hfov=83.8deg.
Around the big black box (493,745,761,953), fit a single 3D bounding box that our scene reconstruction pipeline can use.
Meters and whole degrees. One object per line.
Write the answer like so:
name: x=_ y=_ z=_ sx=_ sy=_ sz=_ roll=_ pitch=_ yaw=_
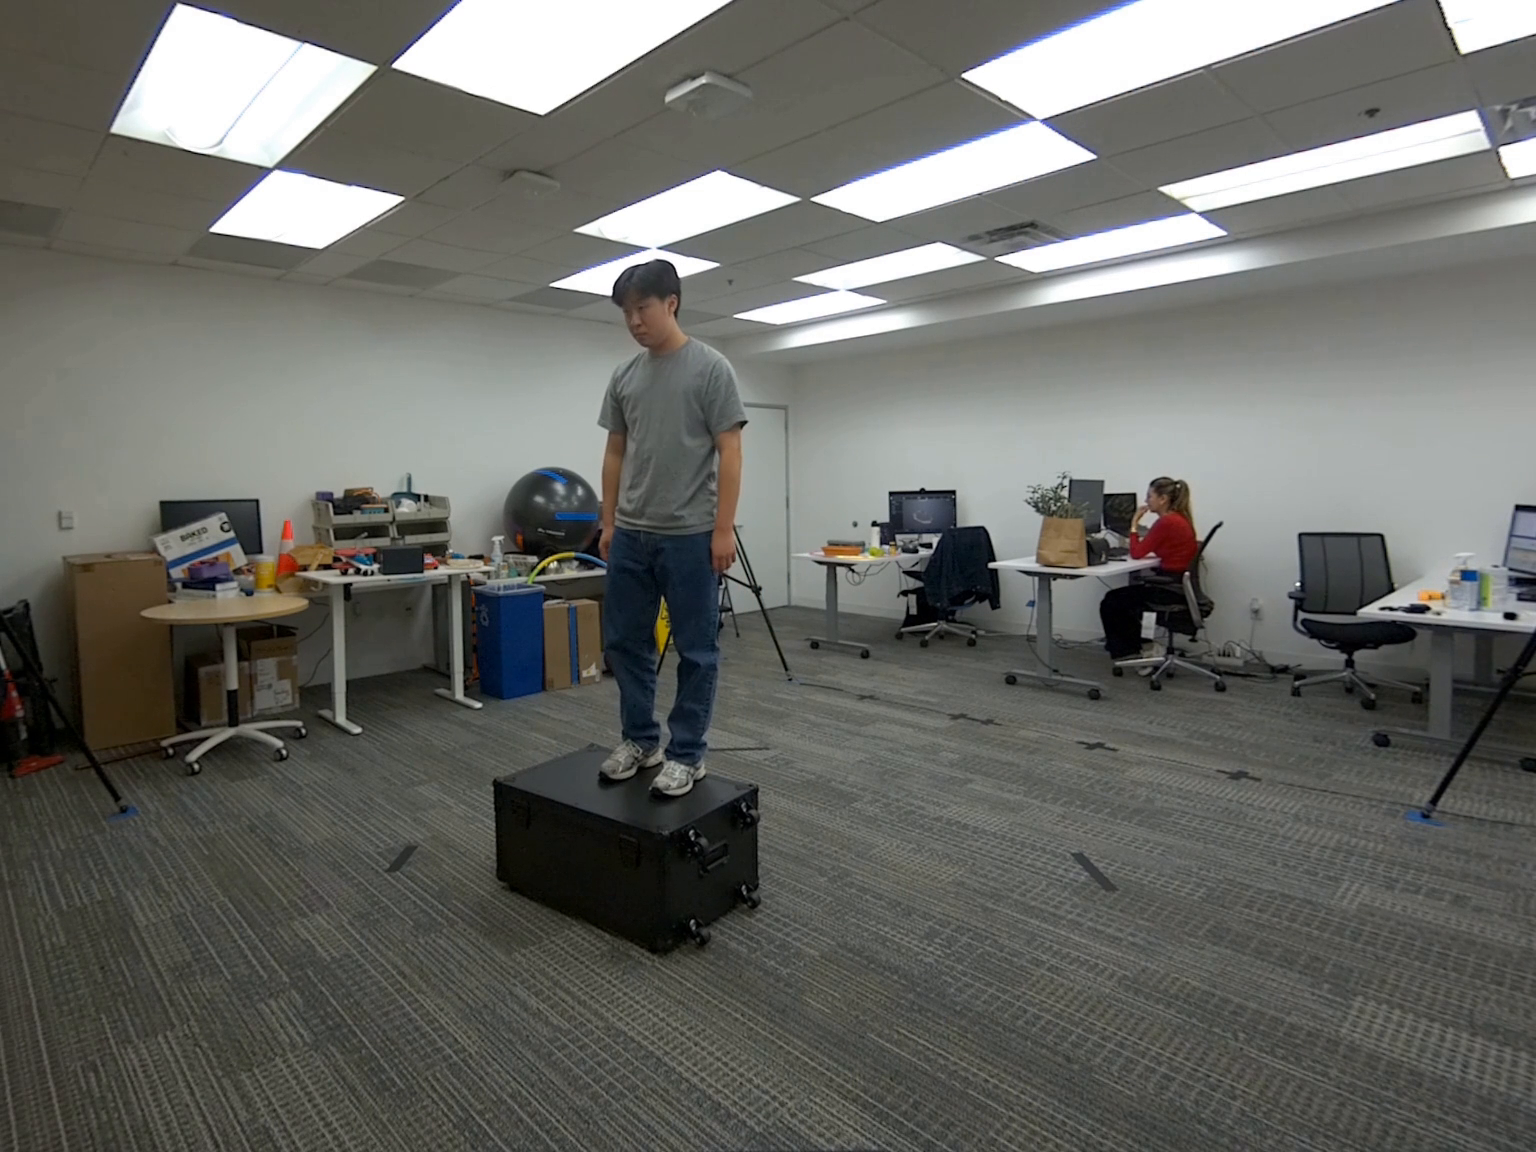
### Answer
big black box: x=-0.459 y=0.890 z=2.886 sx=0.886 sy=0.395 sz=0.508 roll=3 pitch=6 yaw=36
